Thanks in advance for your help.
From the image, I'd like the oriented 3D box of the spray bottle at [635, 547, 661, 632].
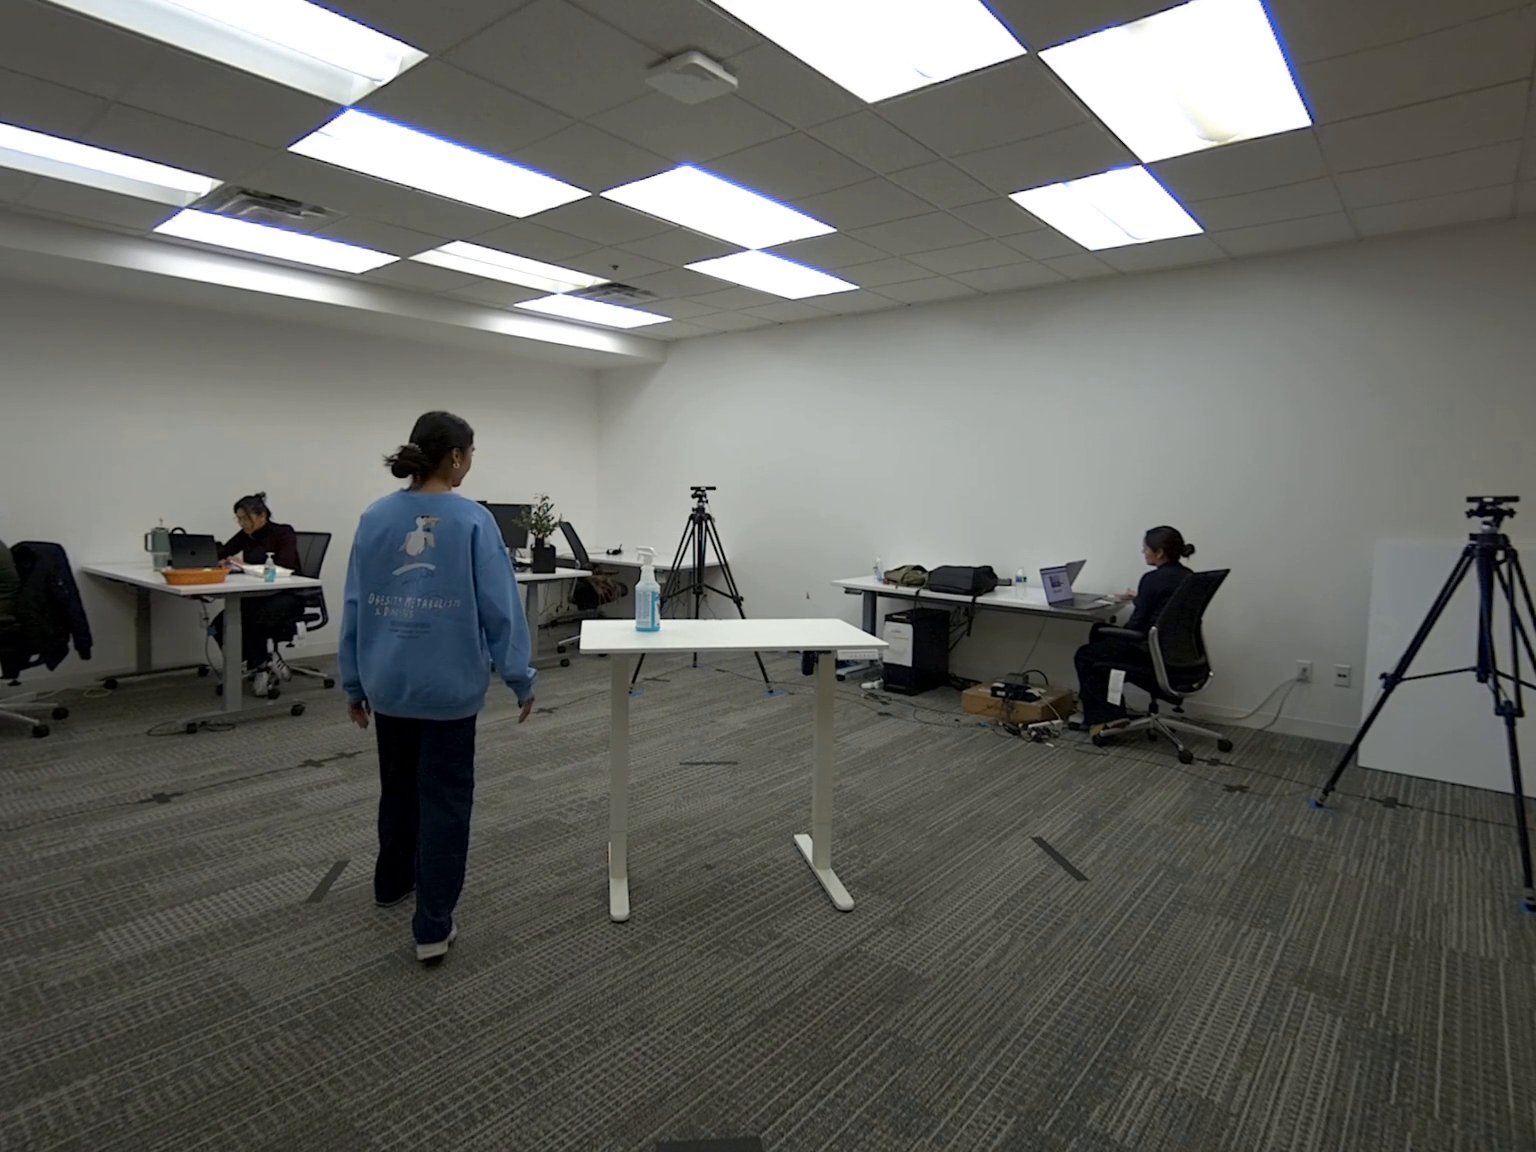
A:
[{"bbox_3d":[-0.442,0.045,3.008,0.085,0.297,0.092,-3,2,-32],"label":"spray bottle"}]
